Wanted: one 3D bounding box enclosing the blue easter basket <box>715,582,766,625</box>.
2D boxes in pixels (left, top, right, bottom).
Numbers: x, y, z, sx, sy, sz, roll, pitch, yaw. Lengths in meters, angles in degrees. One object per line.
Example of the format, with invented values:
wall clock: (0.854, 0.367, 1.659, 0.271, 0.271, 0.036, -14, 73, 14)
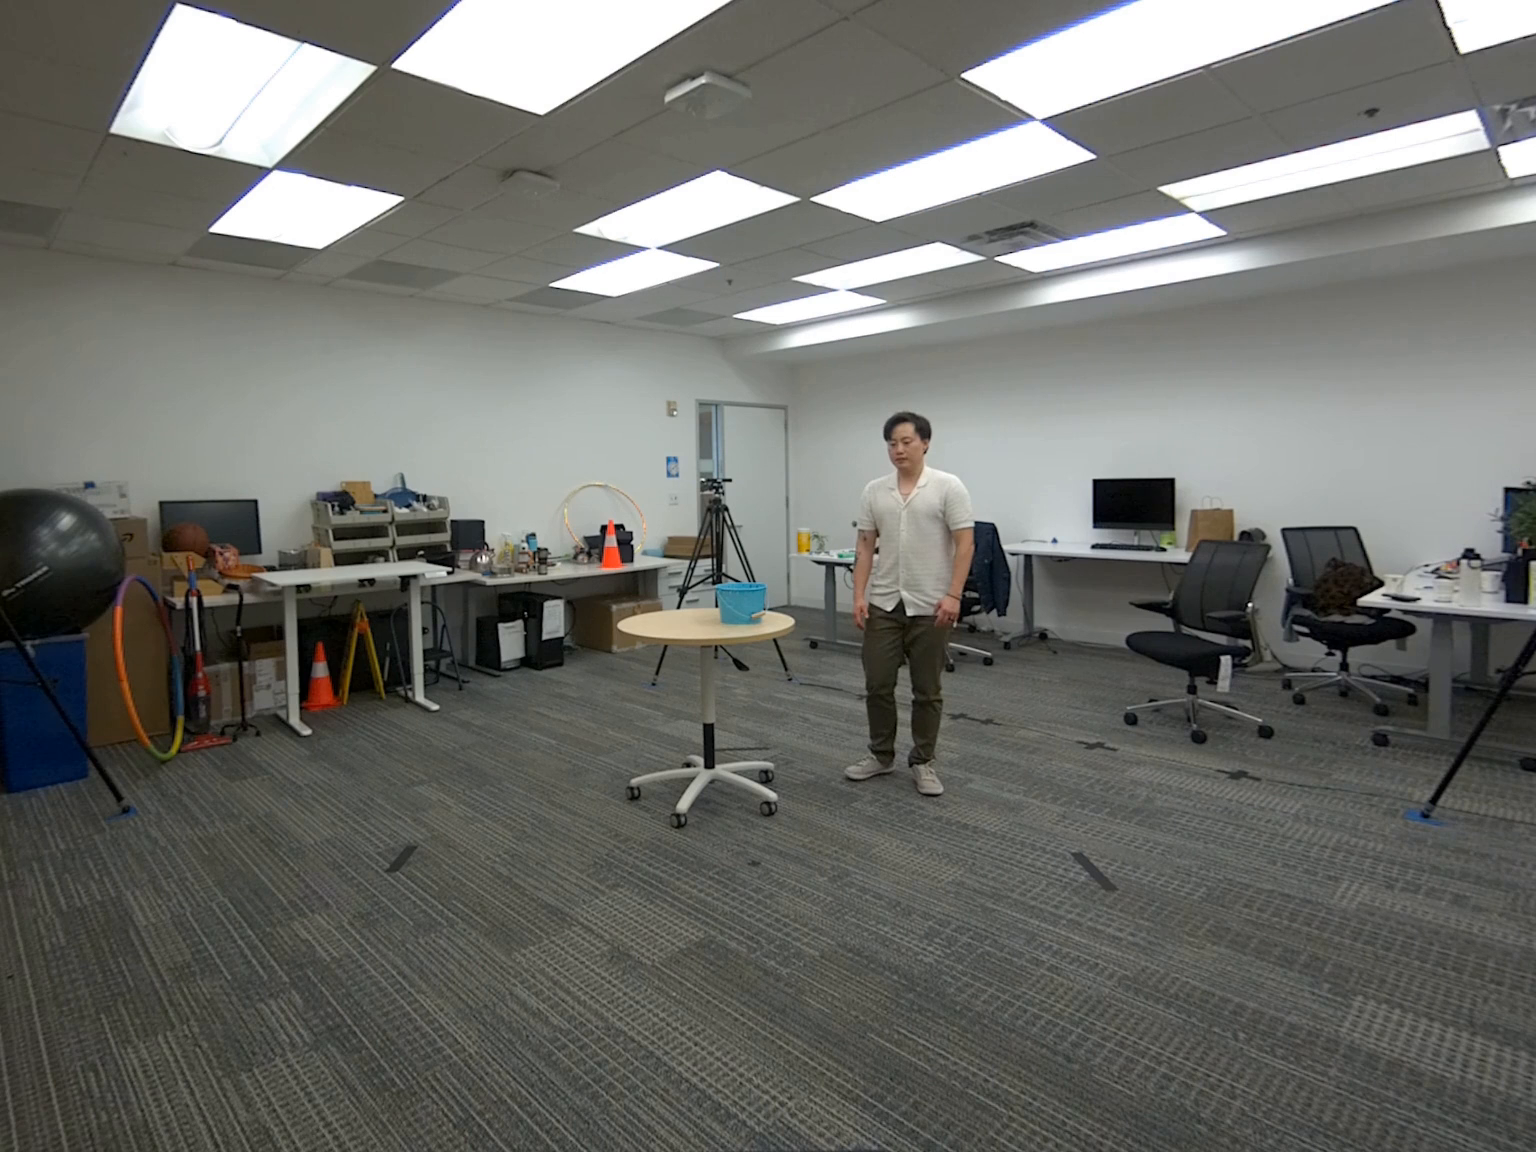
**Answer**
blue easter basket: (-0.115, 0.120, 3.697, 0.243, 0.155, 0.245, -1, 6, -2)
